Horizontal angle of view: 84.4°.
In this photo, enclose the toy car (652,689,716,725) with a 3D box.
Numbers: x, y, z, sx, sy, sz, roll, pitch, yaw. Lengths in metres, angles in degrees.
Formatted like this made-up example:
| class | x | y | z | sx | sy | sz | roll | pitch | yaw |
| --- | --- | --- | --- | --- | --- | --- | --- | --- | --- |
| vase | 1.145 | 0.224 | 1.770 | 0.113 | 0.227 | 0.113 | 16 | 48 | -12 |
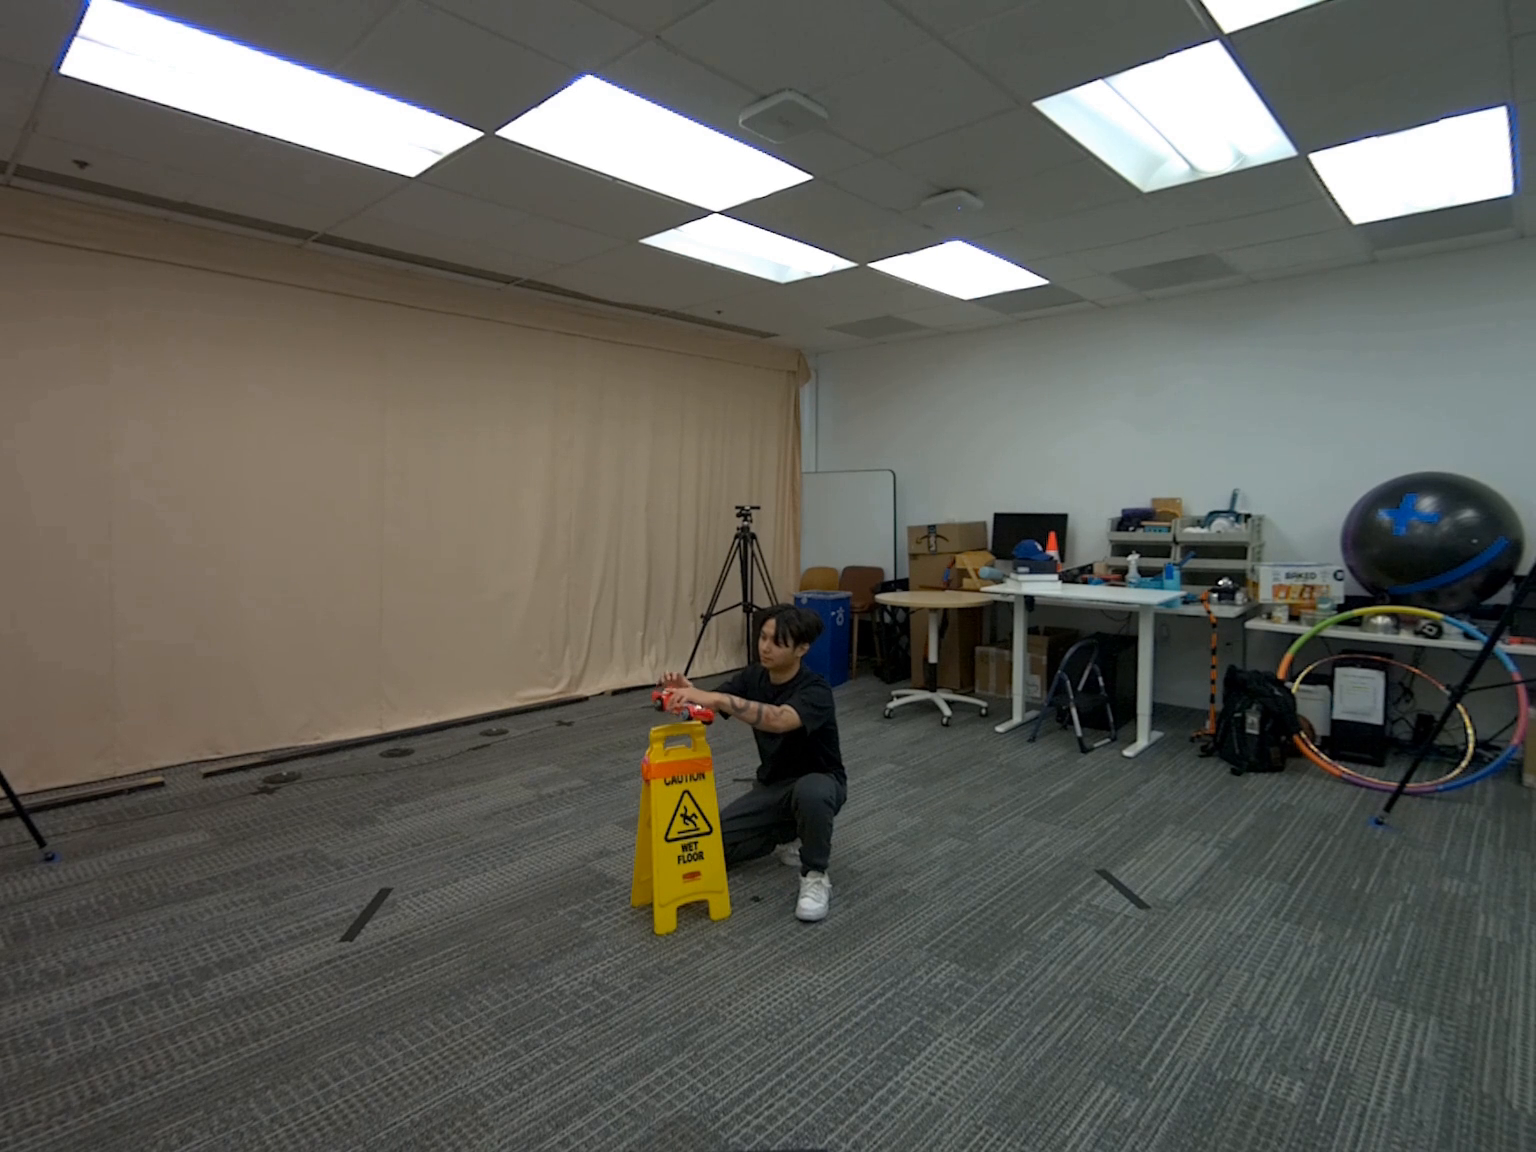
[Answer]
| class | x | y | z | sx | sy | sz | roll | pitch | yaw |
| --- | --- | --- | --- | --- | --- | --- | --- | --- | --- |
| toy car | -0.290 | 0.443 | 2.800 | 0.126 | 0.083 | 0.264 | 19 | 6 | -38 |
